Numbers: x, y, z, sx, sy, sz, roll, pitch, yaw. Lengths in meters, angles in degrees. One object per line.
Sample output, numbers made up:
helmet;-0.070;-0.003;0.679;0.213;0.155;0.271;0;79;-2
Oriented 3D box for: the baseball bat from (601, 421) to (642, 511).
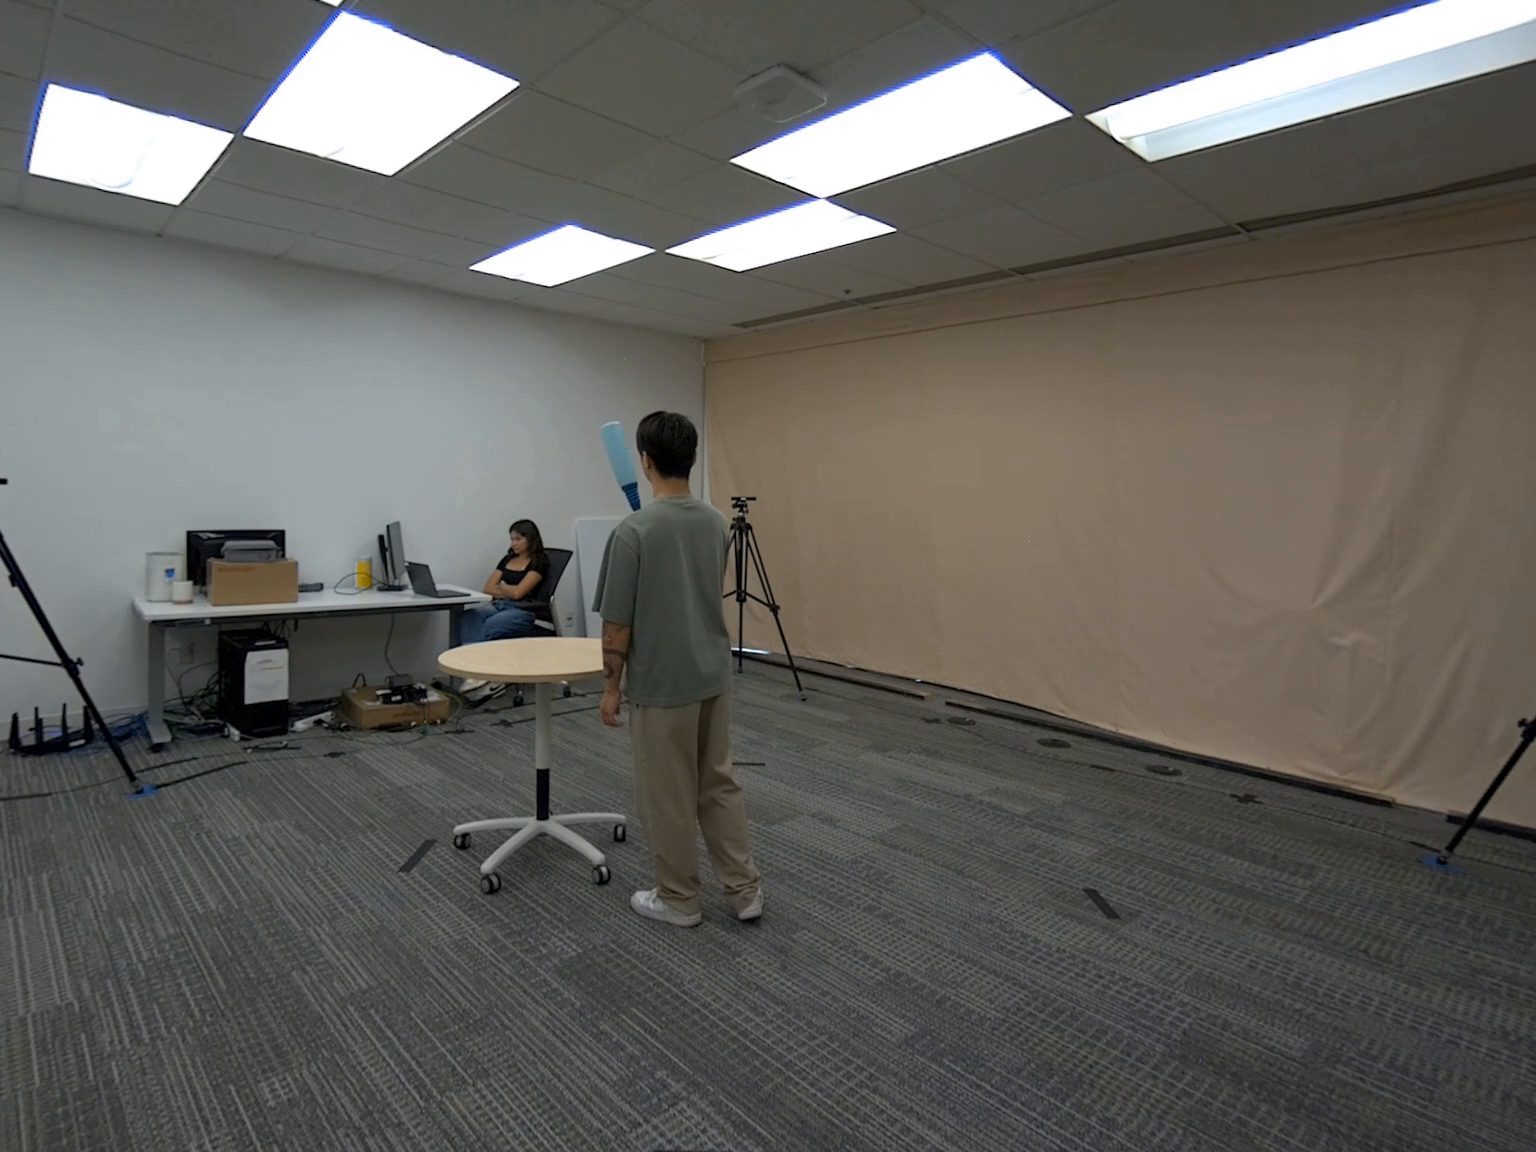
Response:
baseball bat;-0.544;-0.334;3.276;0.089;0.543;0.089;-18;0;-1
